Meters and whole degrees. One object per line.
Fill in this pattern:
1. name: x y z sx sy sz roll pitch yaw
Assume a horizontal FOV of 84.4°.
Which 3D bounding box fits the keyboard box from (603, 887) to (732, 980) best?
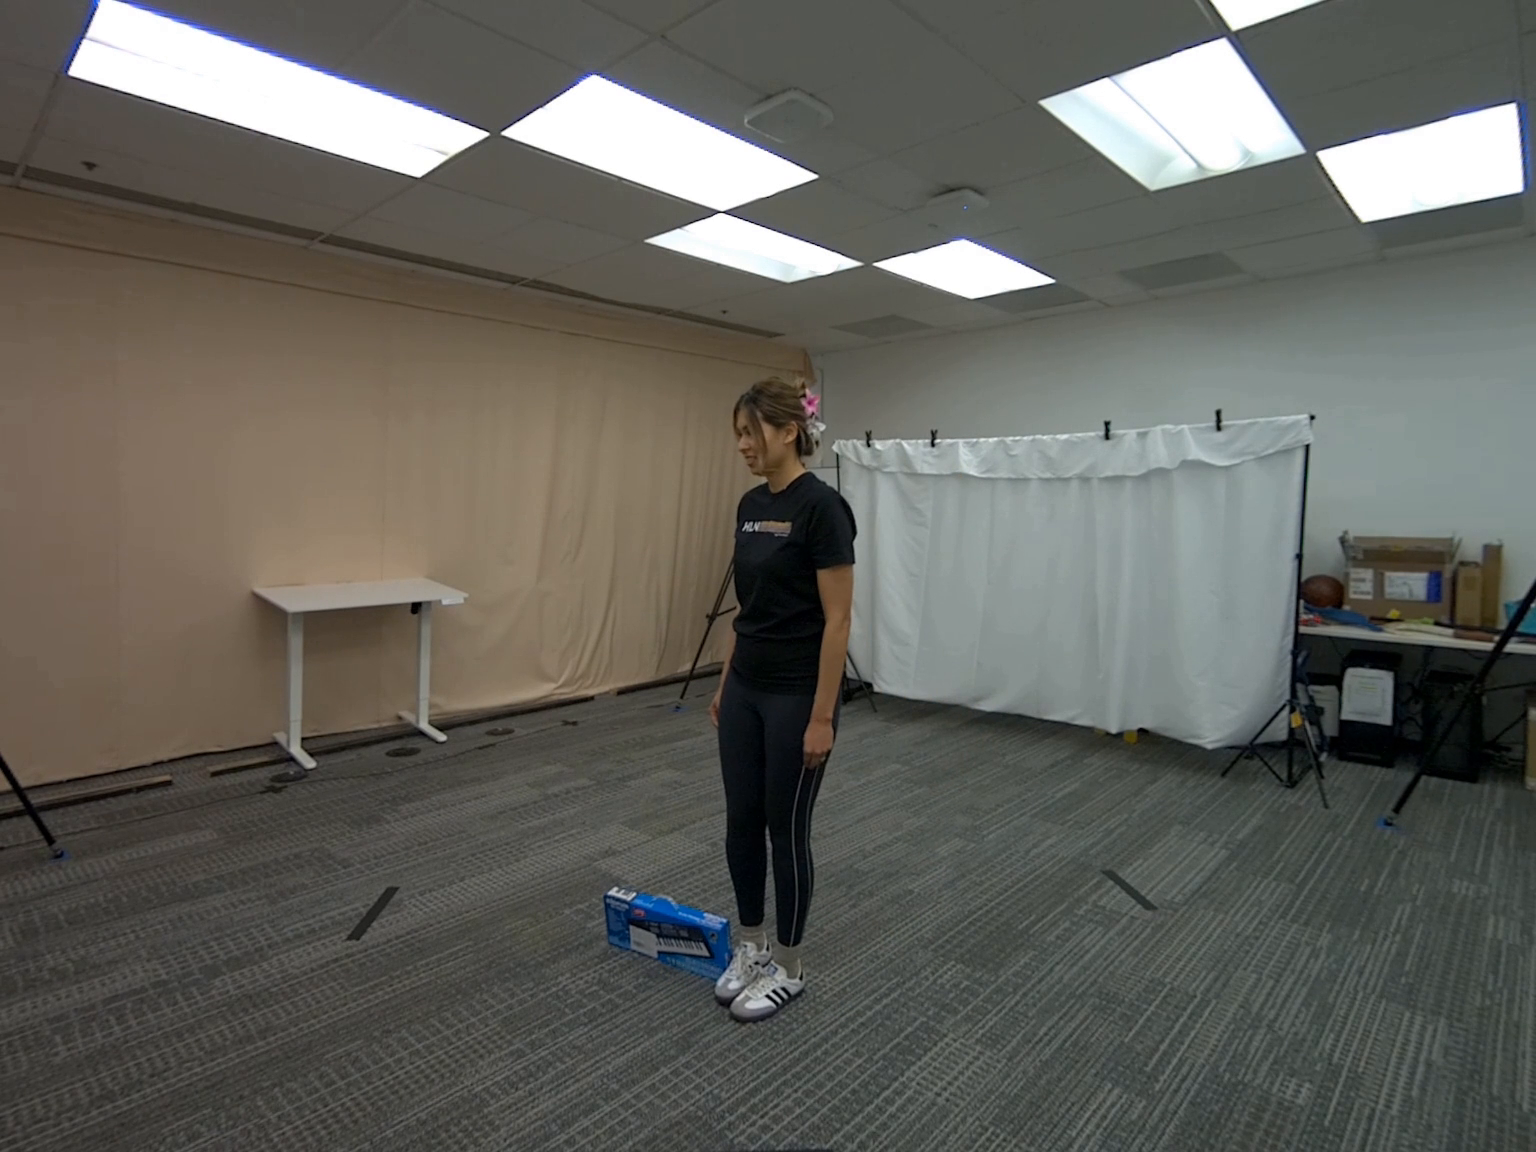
1. keyboard box: -0.313 1.094 2.575 0.450 0.175 0.058 2 11 32
